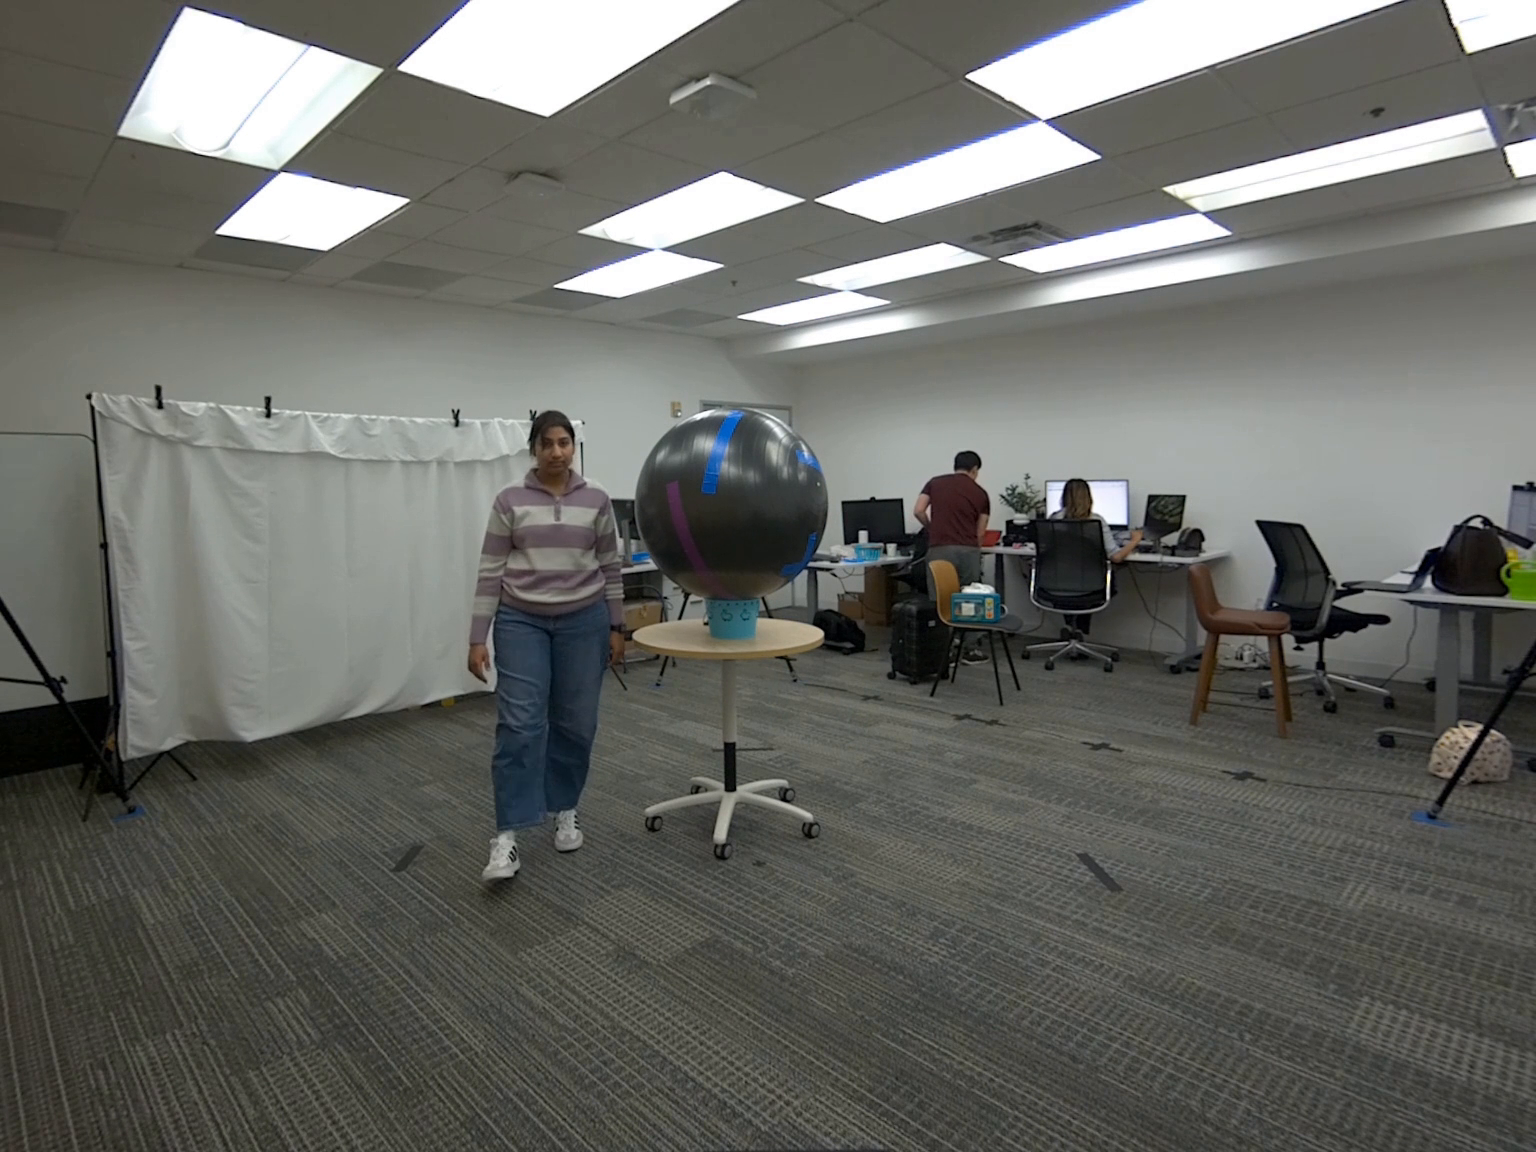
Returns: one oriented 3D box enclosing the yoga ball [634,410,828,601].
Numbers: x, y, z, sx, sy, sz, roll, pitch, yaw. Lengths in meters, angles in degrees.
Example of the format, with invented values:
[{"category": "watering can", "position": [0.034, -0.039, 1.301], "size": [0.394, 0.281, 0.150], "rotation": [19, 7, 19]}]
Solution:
[{"category": "yoga ball", "position": [-0.149, -0.275, 3.361], "size": [0.757, 0.755, 0.762], "rotation": [-1, 5, -2]}]
